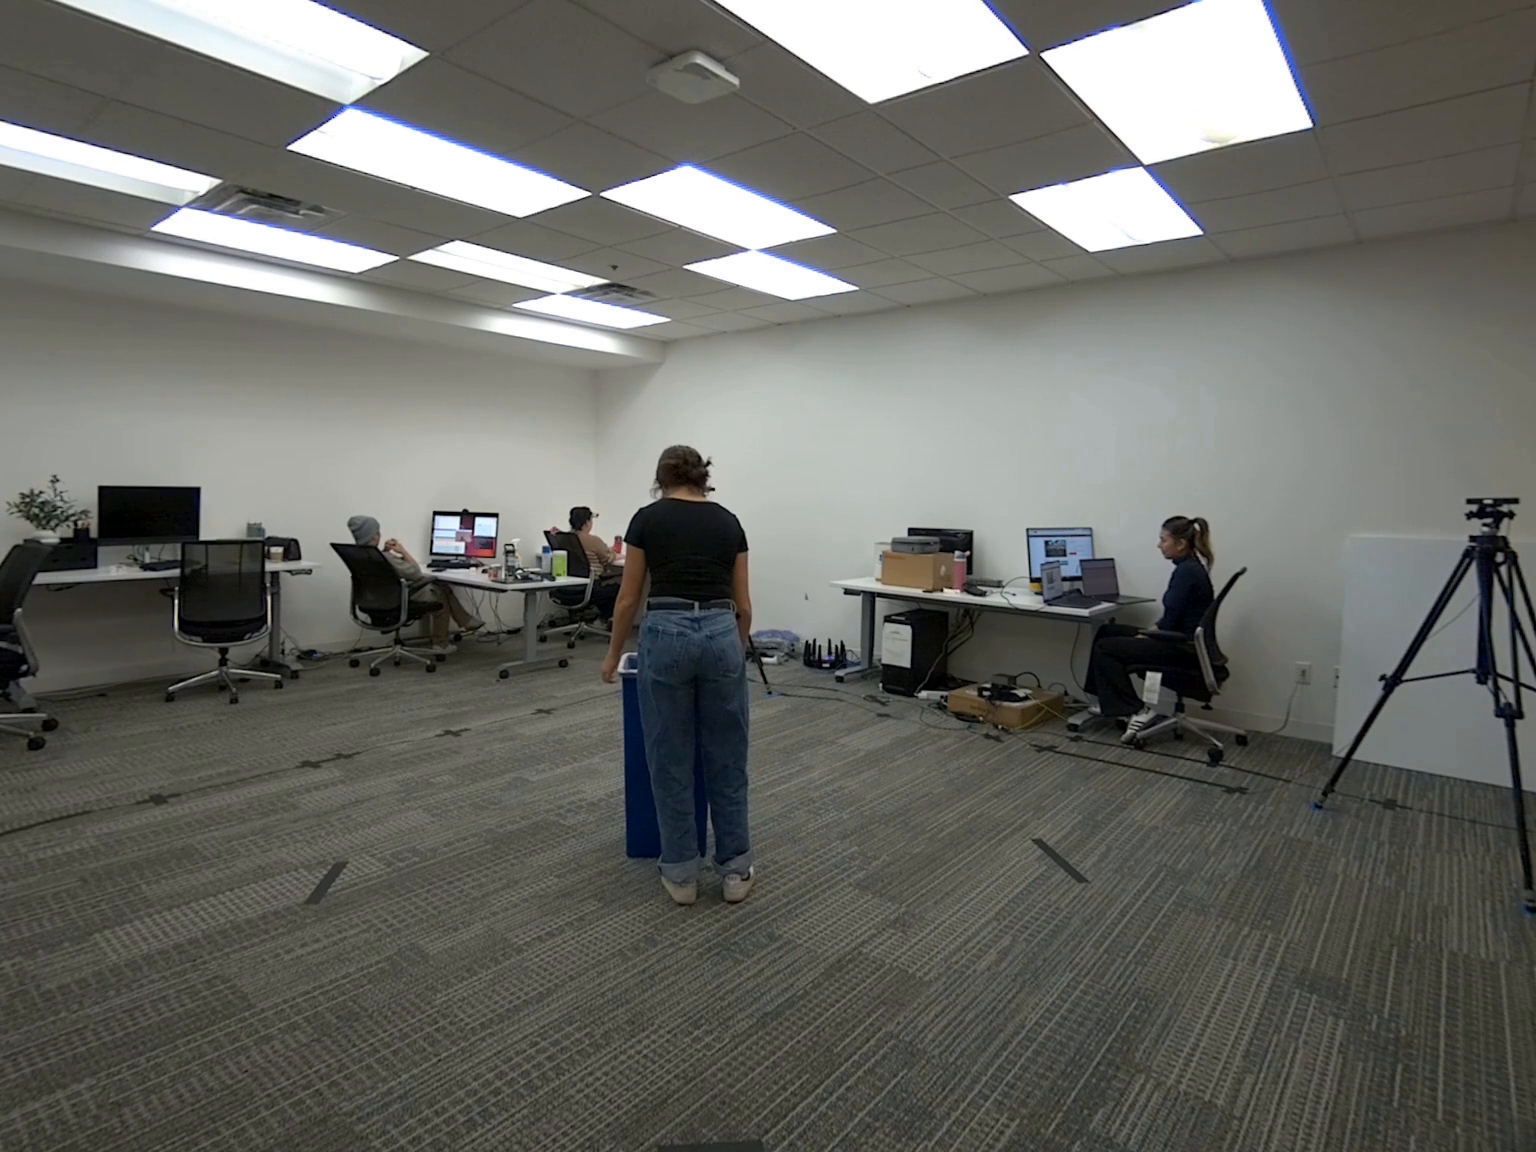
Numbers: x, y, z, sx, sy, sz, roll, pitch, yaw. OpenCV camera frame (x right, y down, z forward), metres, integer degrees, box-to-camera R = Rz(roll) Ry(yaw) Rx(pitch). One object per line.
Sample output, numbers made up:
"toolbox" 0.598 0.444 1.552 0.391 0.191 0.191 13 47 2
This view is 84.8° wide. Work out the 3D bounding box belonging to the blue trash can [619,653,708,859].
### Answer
"blue trash can" -0.411 0.684 3.323 0.372 0.712 0.381 1 3 -5
